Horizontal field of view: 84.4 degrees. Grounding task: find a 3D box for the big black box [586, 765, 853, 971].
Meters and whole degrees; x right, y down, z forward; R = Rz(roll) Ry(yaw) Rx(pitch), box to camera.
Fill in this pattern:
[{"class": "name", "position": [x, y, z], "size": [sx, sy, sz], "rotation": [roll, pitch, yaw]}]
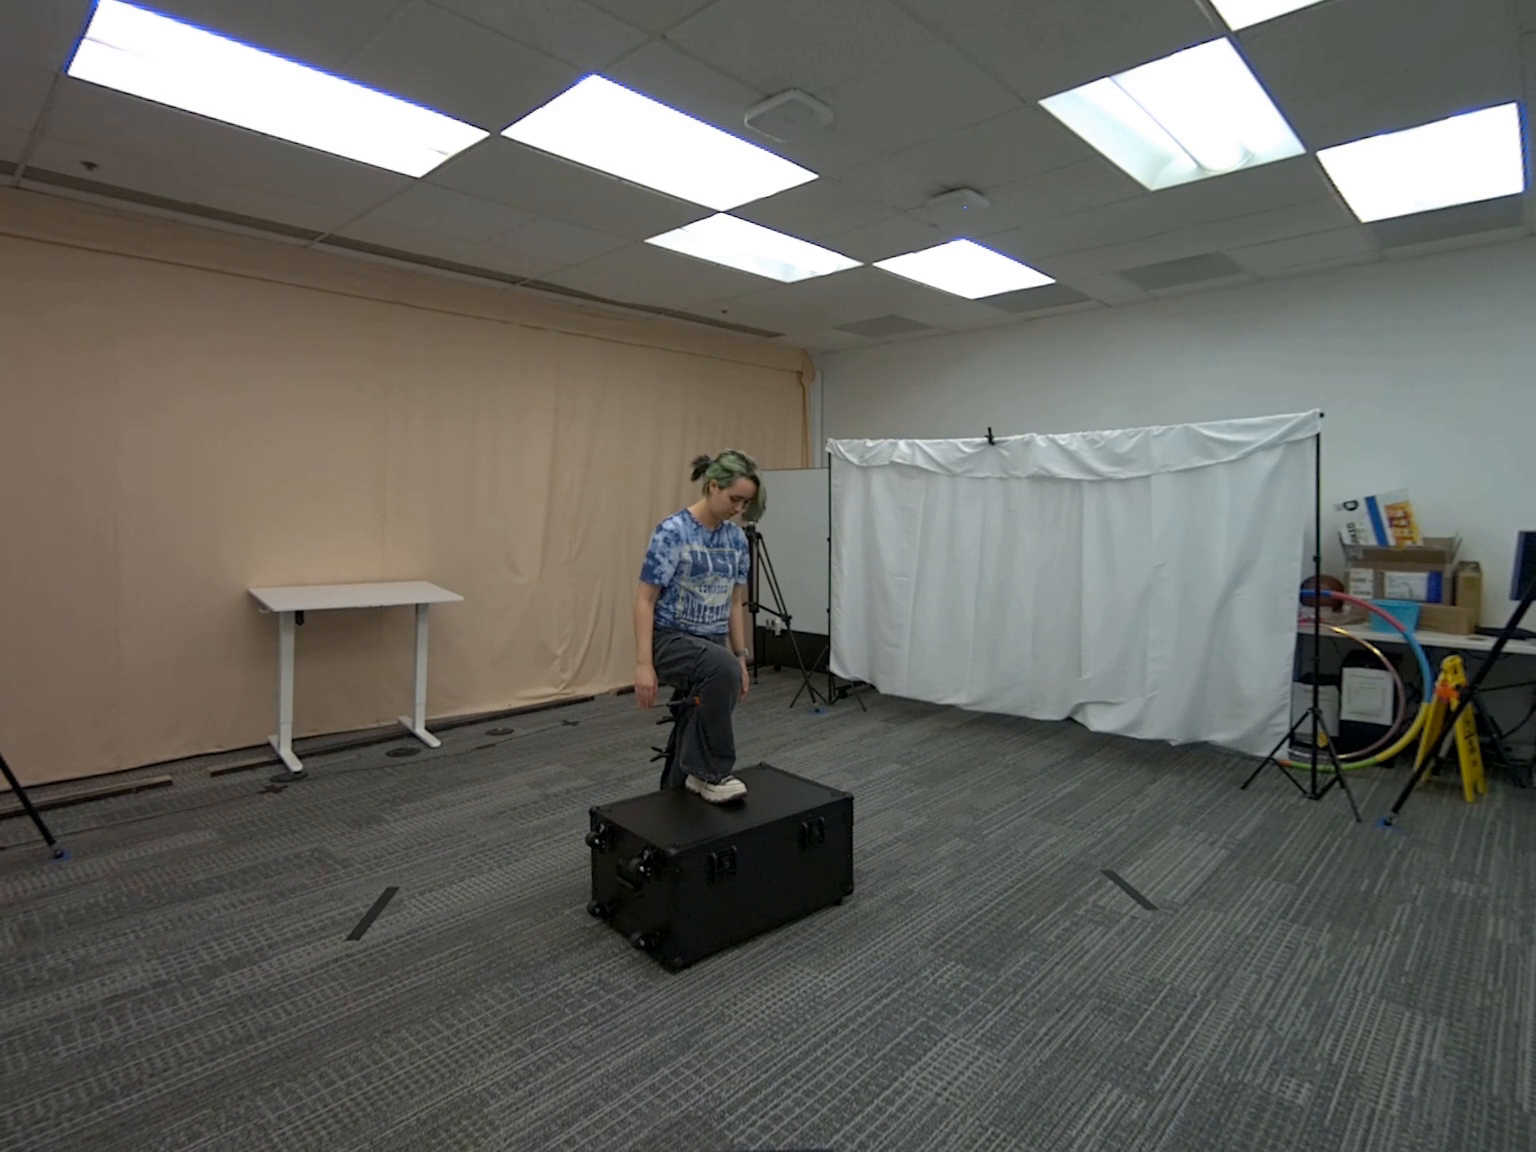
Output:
[{"class": "big black box", "position": [-0.174, 0.962, 2.886], "size": [0.835, 0.395, 0.538], "rotation": [-3, 5, -40]}]
